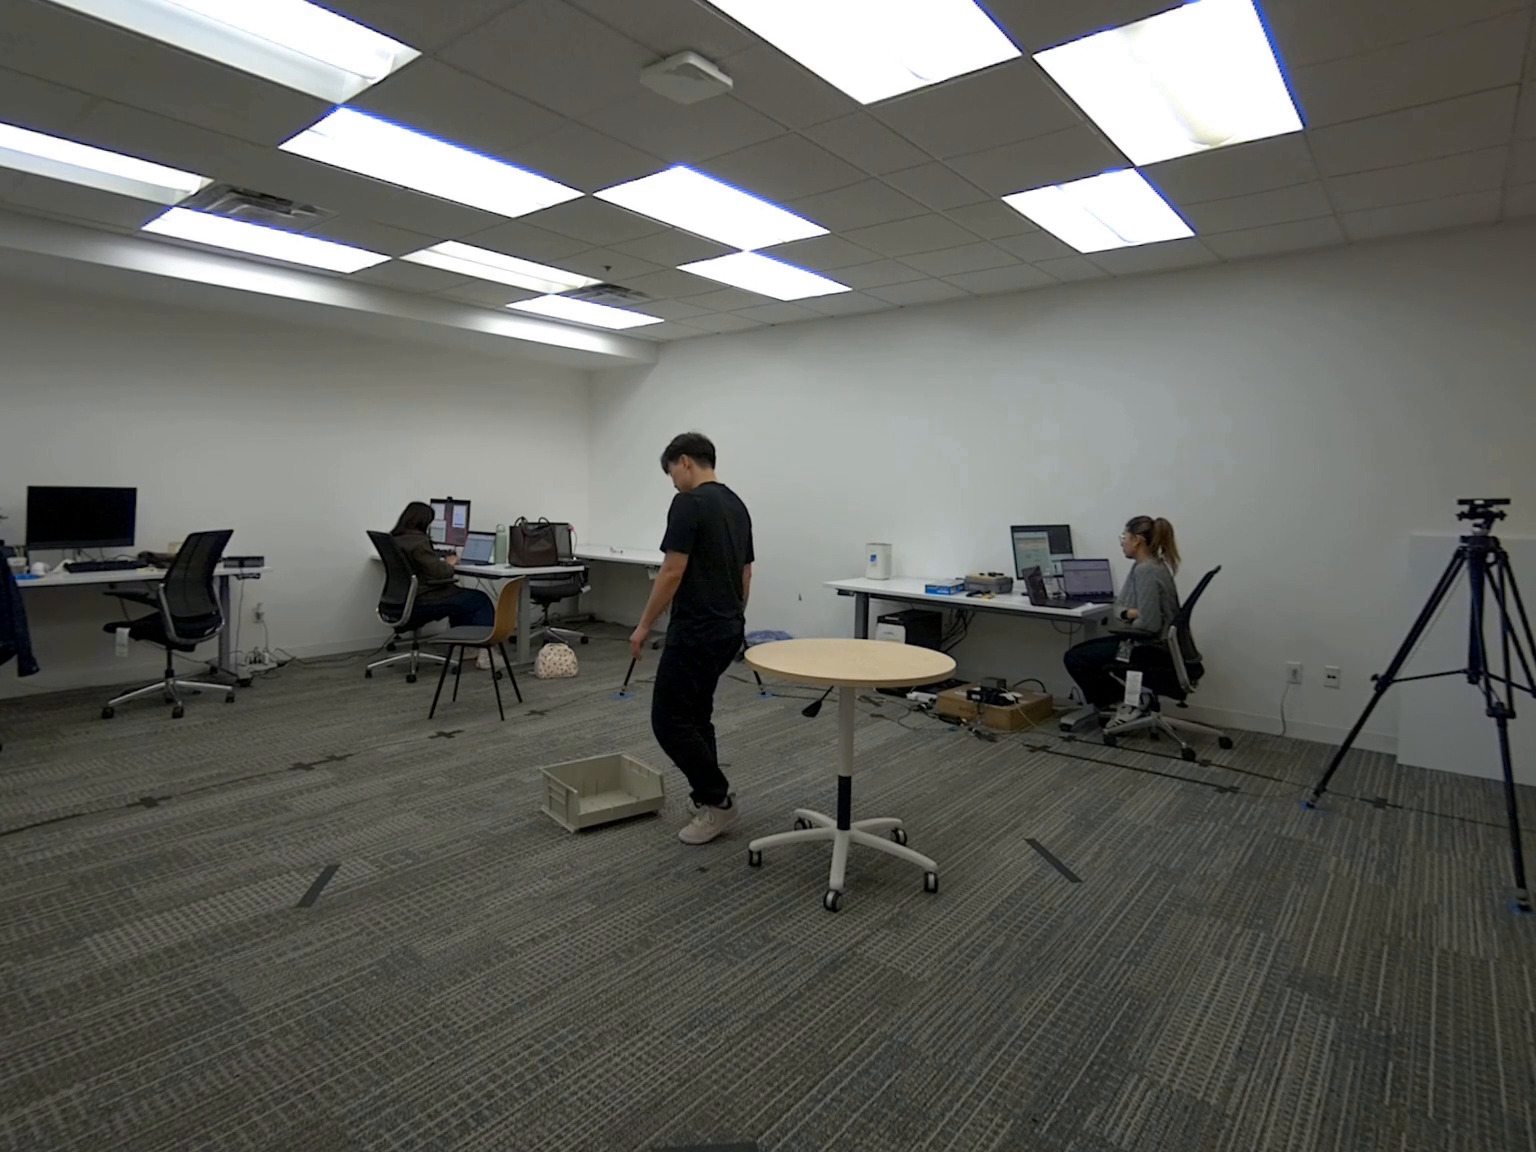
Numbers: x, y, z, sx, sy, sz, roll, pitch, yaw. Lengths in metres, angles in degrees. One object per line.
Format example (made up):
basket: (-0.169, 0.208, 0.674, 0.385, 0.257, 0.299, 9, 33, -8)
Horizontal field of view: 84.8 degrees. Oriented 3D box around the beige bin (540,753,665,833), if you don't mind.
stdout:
beige bin: (-0.723, 0.922, 3.643, 0.410, 0.188, 0.390, -3, 6, -37)
